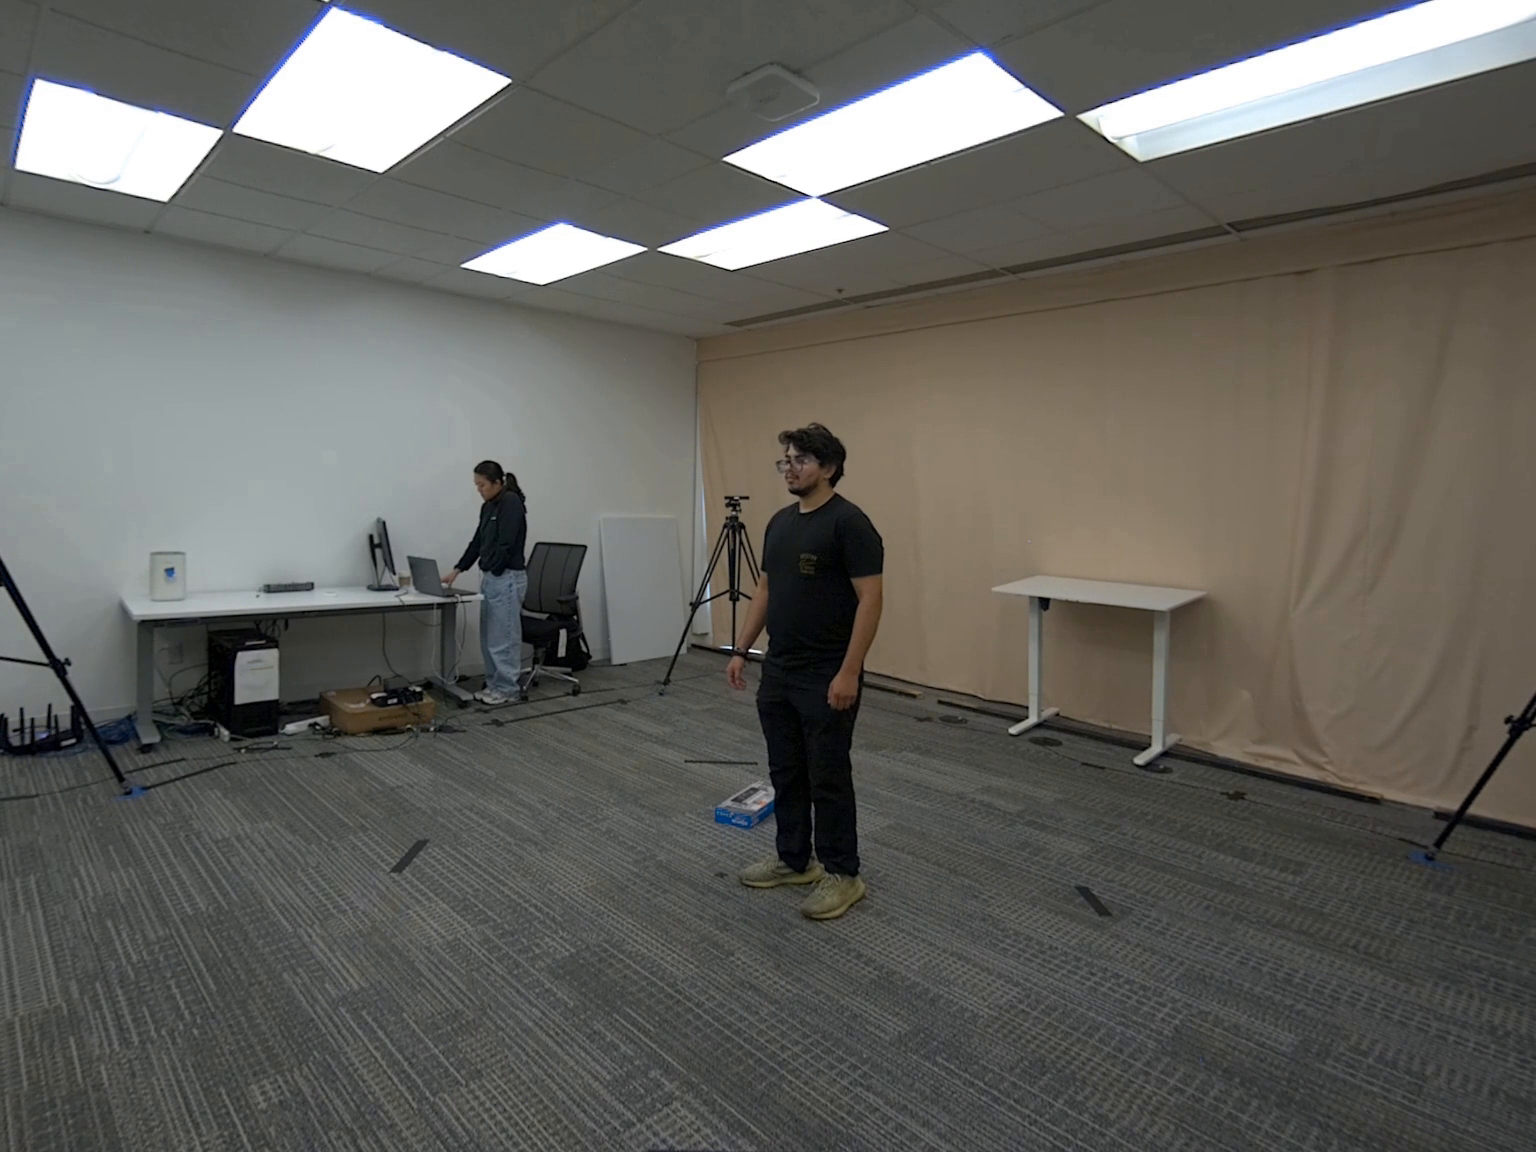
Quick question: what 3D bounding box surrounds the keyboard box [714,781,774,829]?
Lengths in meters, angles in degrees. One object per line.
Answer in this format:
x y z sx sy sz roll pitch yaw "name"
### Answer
-0.068 1.017 3.775 0.179 0.059 0.429 5 6 26 "keyboard box"
